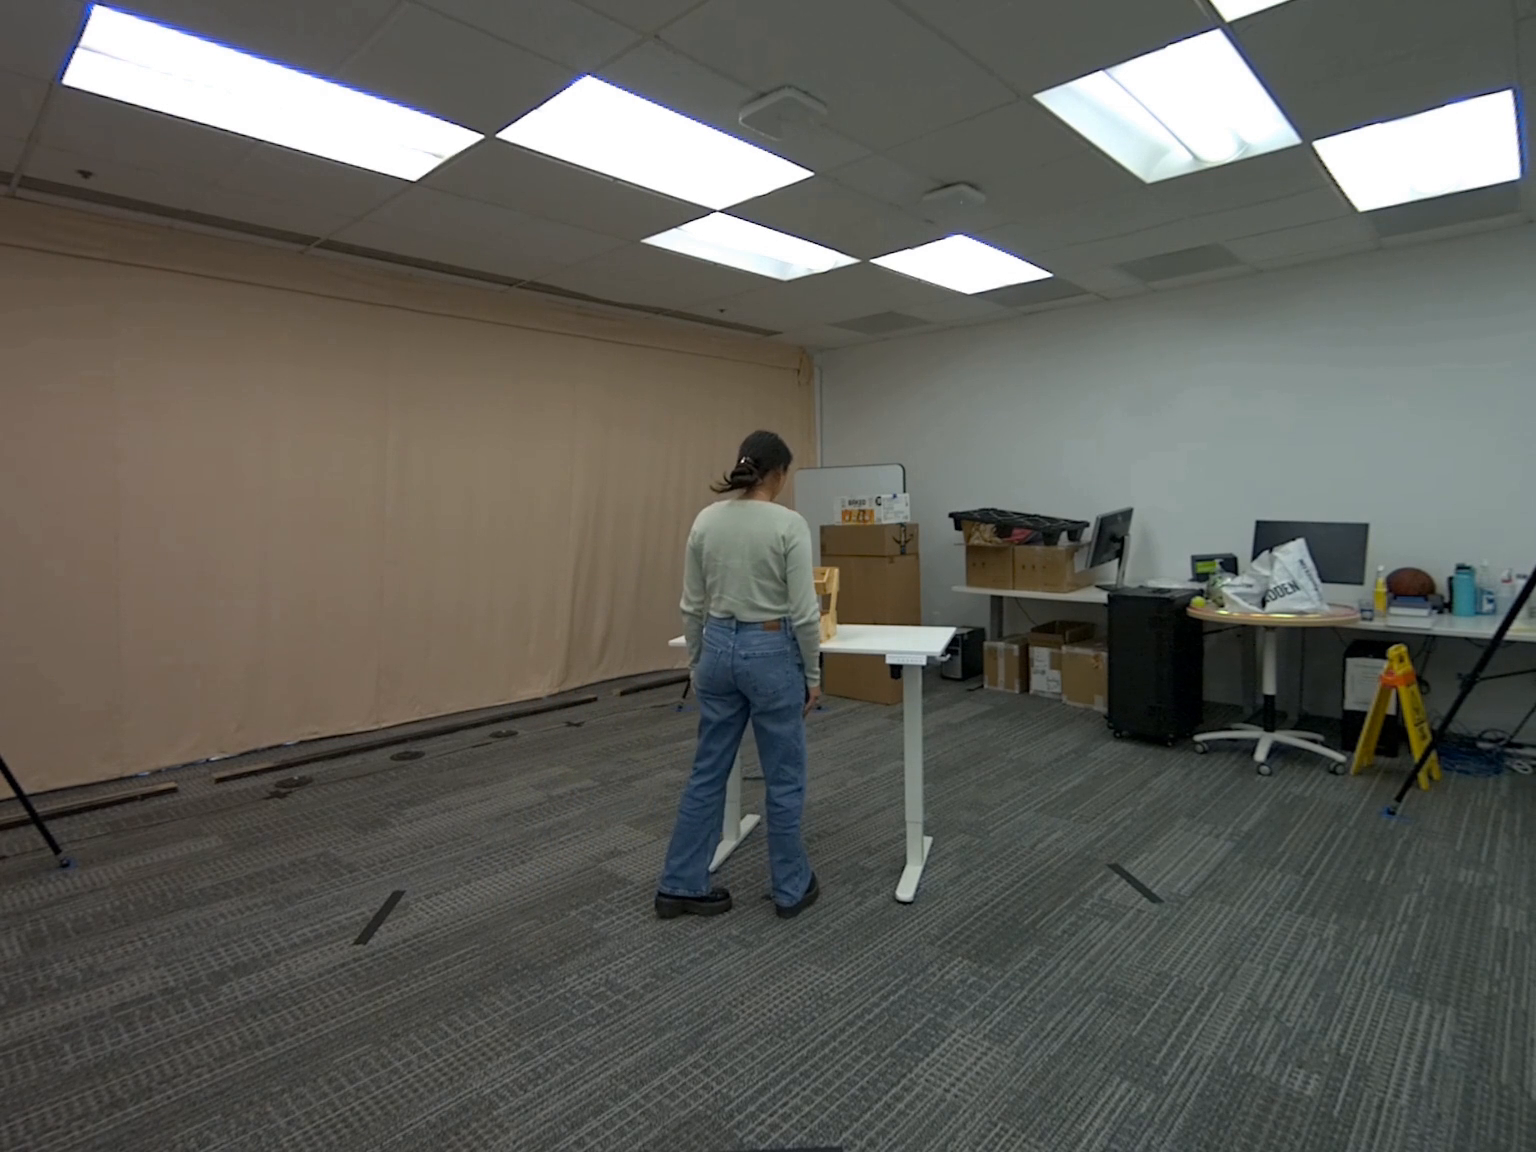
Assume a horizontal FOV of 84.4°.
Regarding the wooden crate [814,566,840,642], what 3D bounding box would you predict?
[{"bbox_3d":[0.101,0.102,3.231,0.331,0.273,0.296,0,3,20],"label":"wooden crate"}]
